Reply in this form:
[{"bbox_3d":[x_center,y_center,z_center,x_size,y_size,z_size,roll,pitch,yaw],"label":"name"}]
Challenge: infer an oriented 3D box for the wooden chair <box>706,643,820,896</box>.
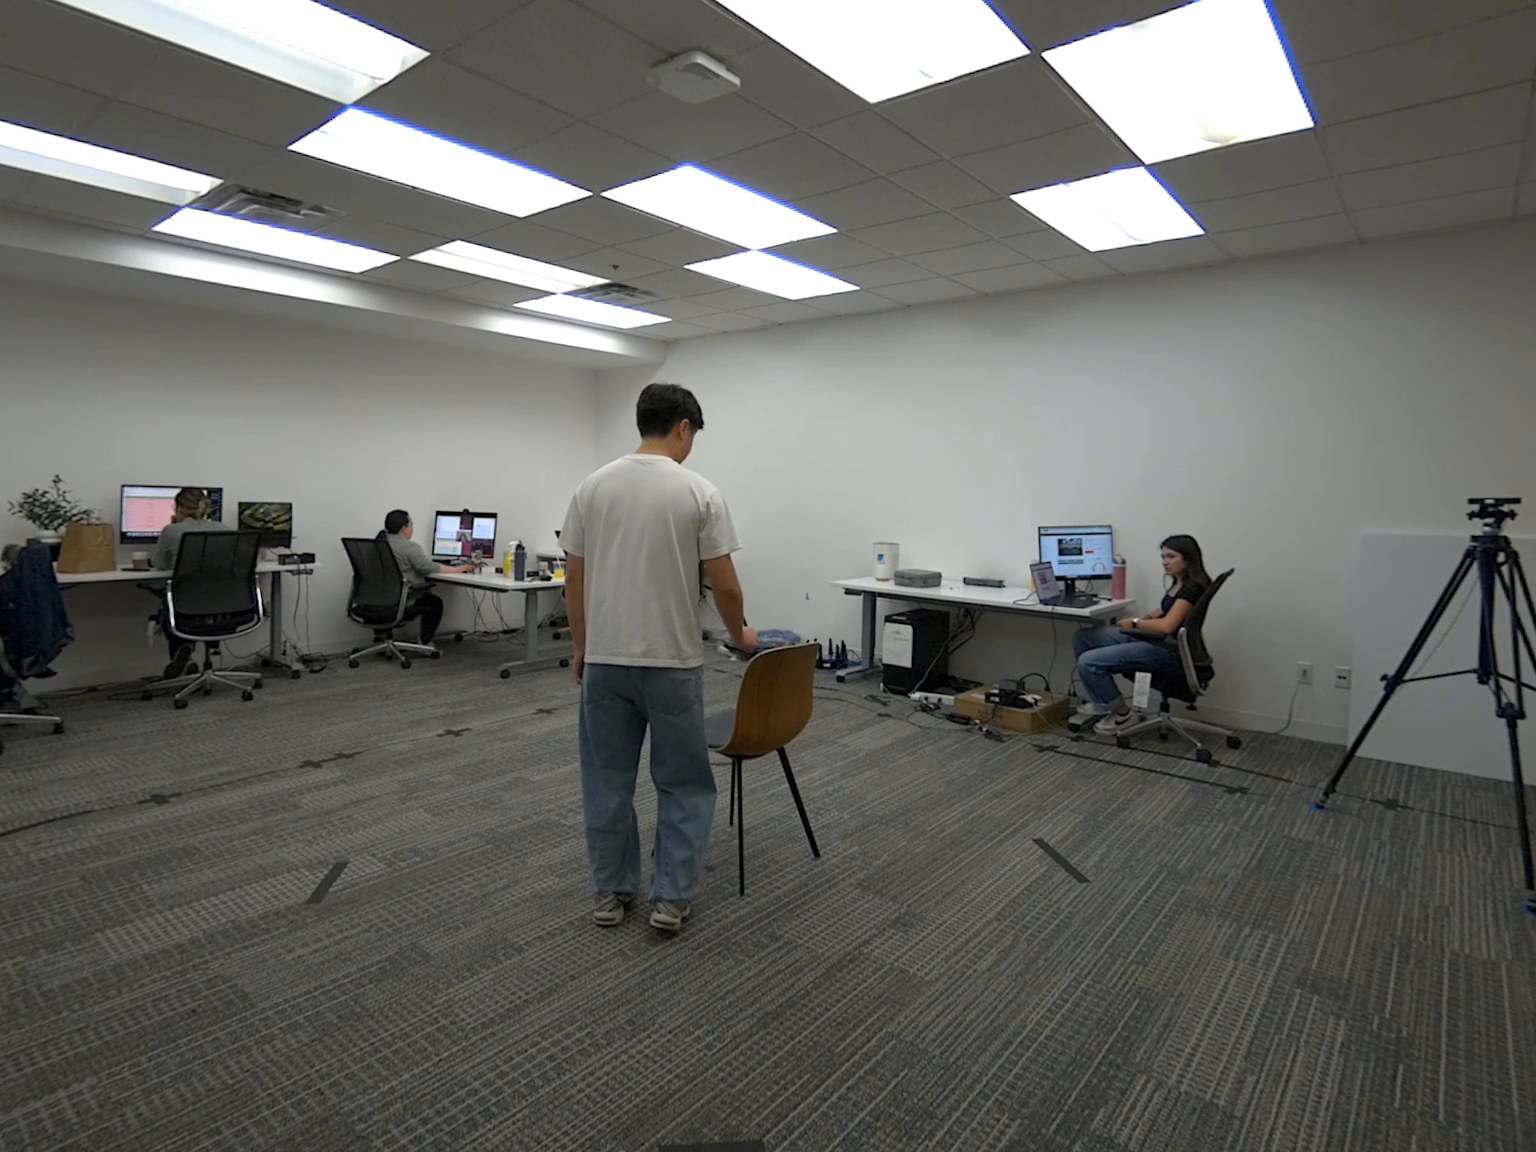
[{"bbox_3d":[-0.121,0.633,3.196,0.542,0.873,0.464,10,8,41],"label":"wooden chair"}]
